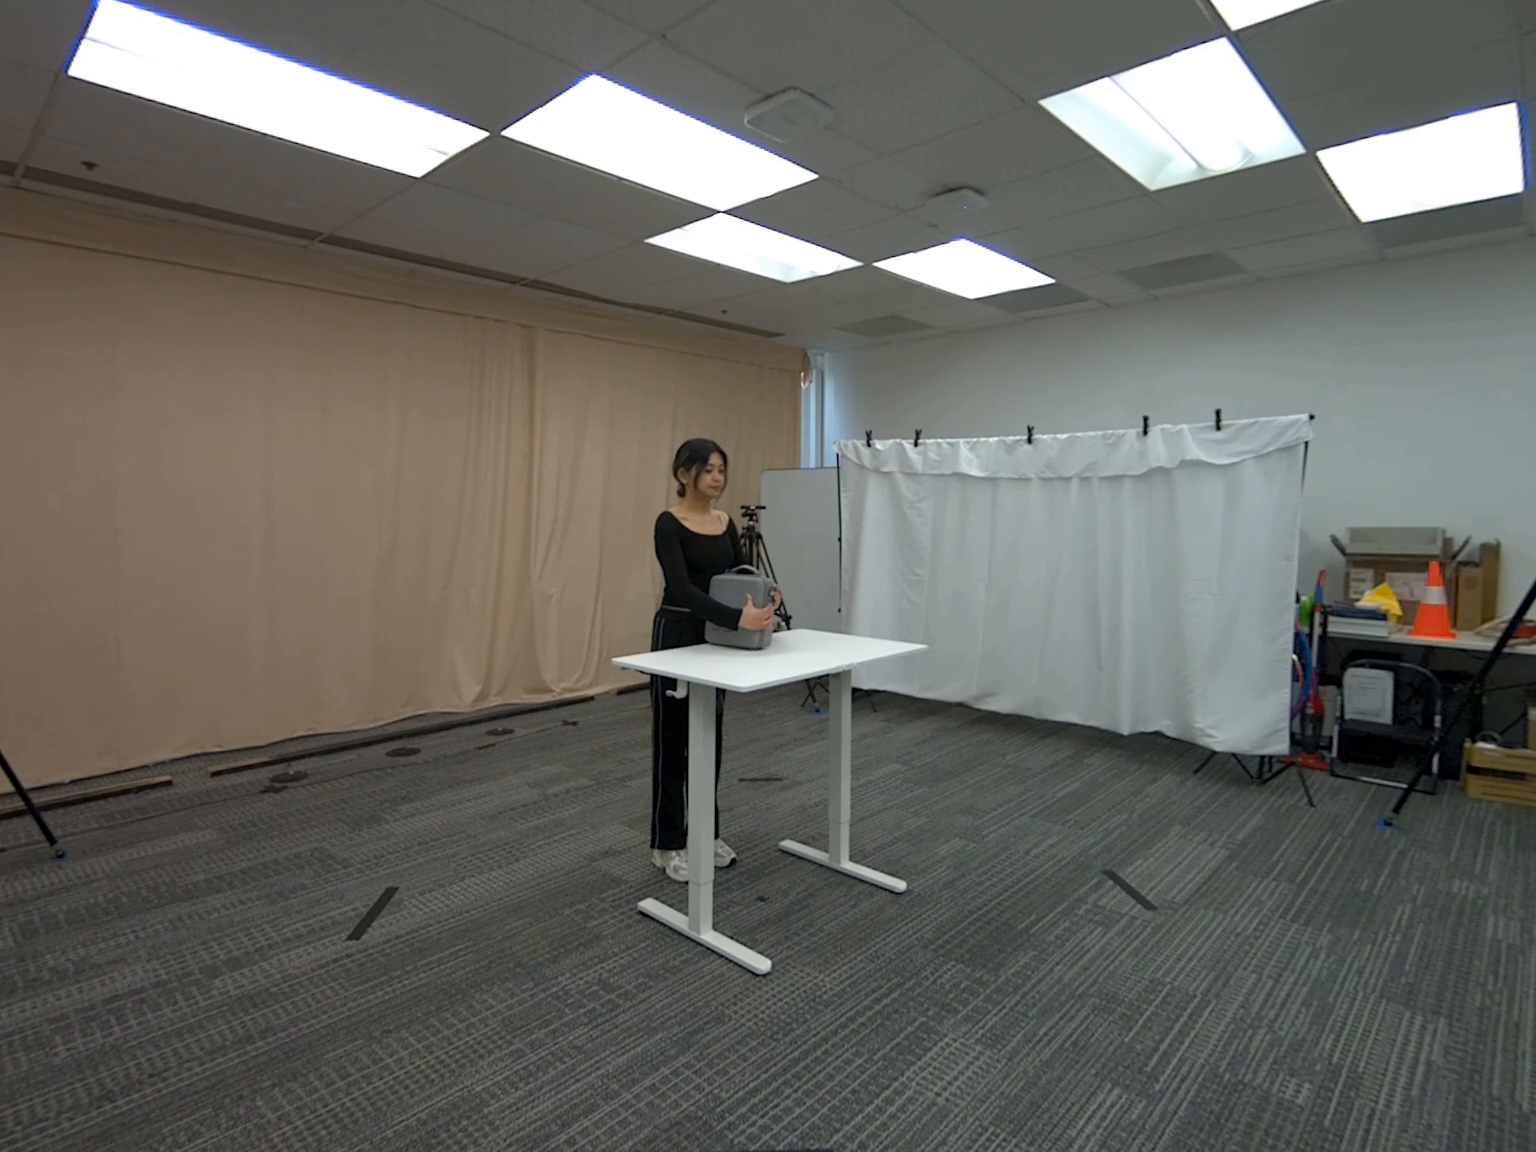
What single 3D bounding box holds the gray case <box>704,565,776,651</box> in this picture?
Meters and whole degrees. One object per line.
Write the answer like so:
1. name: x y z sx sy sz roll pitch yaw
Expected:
1. gray case: -0.101 0.126 3.048 0.265 0.261 0.101 2 -4 40
